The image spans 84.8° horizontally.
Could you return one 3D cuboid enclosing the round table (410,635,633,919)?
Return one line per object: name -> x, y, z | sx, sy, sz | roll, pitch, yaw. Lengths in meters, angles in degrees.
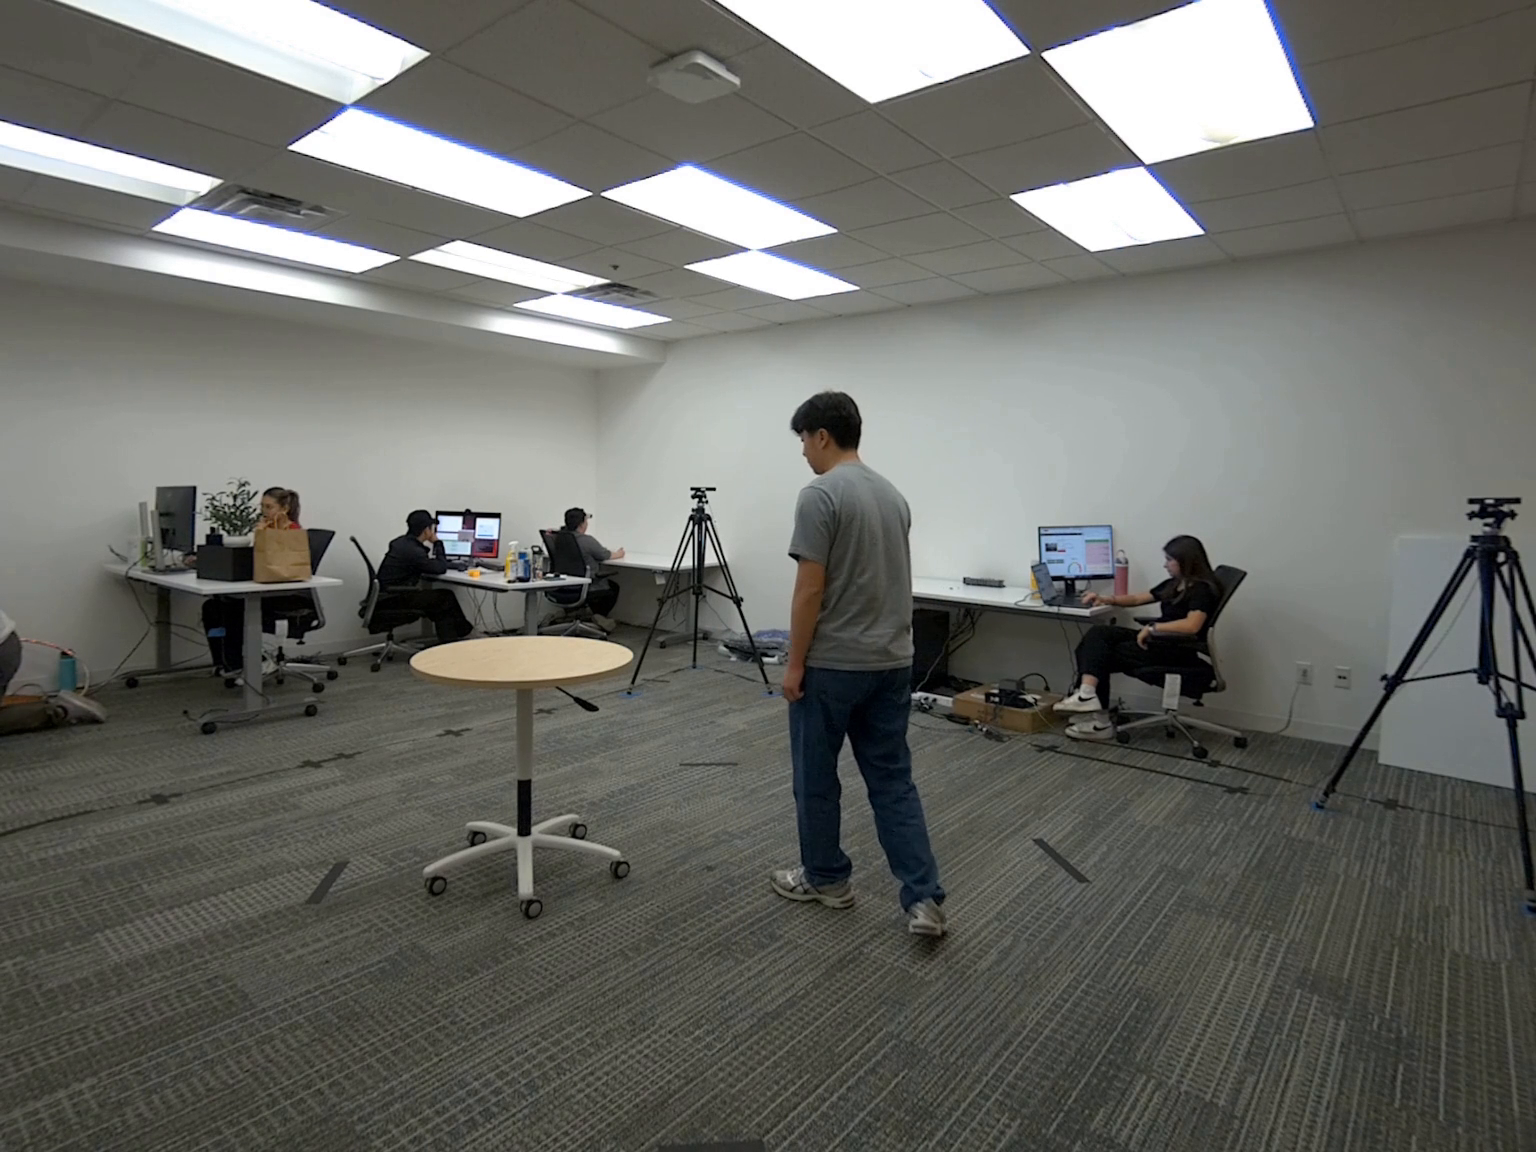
round table -> -0.879, 0.676, 3.030 | 0.763, 0.791, 0.768 | 1, 4, -2
